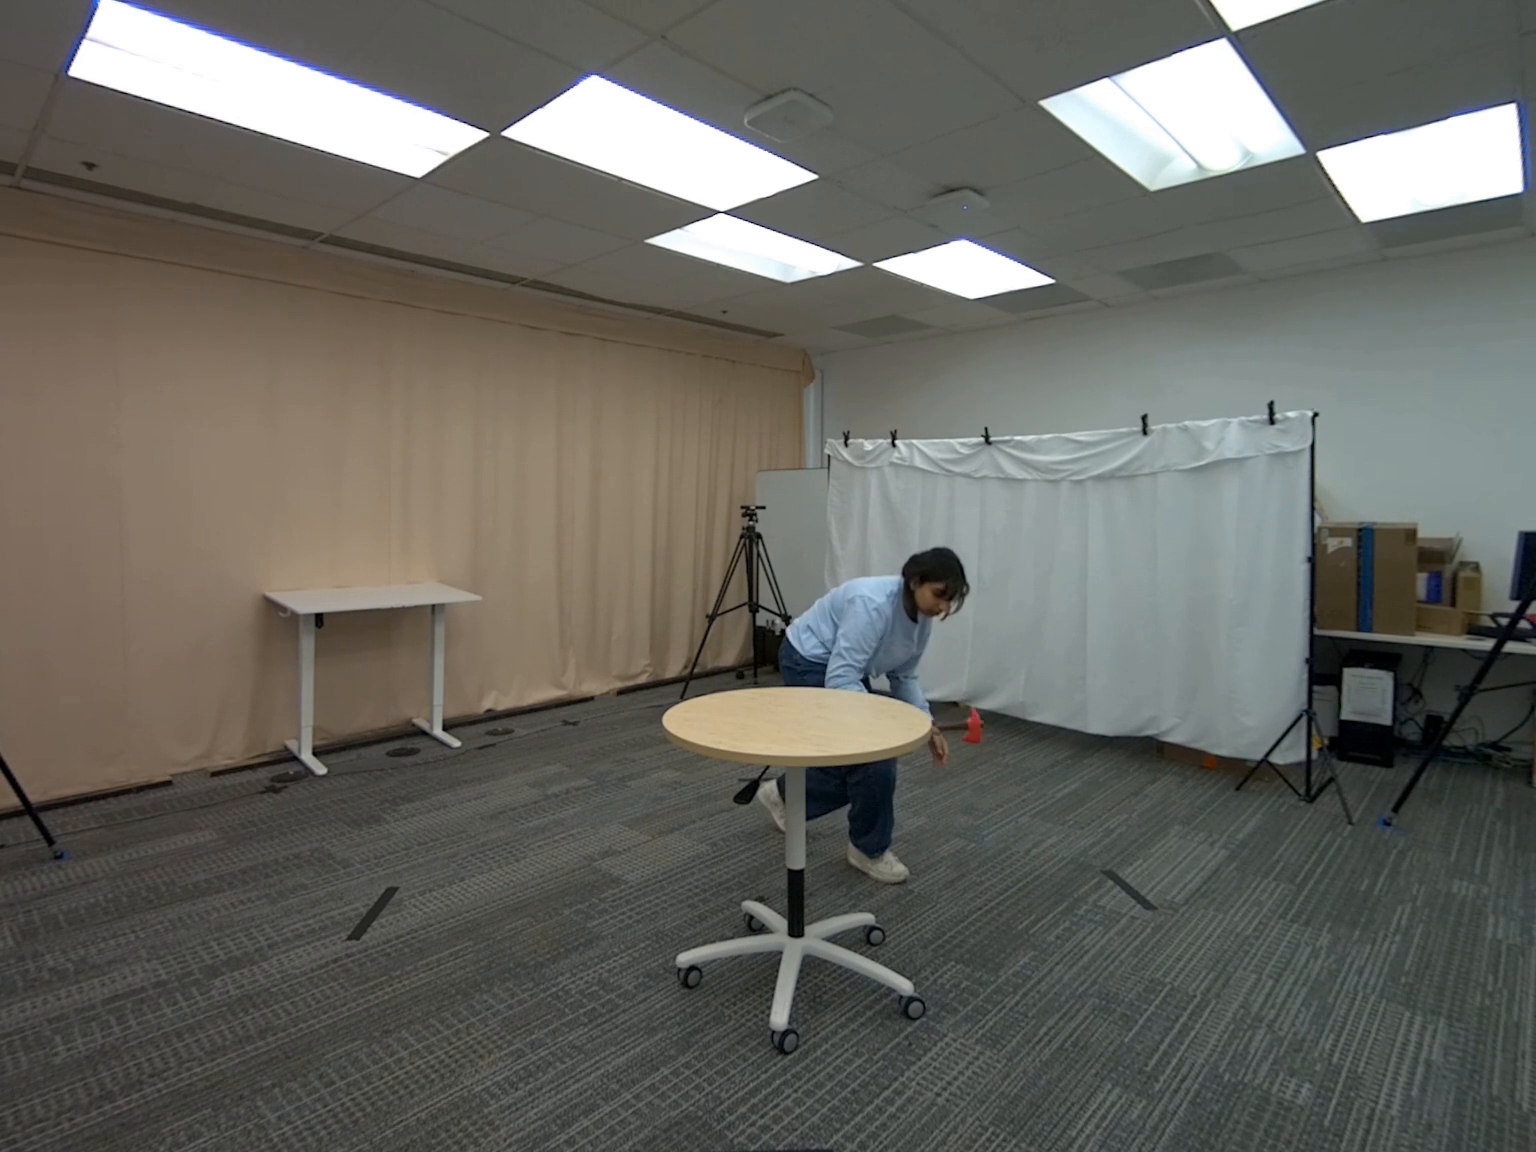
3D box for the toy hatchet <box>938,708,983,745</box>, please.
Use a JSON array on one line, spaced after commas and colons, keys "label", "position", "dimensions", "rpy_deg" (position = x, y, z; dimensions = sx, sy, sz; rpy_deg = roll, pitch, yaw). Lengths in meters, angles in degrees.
[{"label": "toy hatchet", "position": [0.621, 0.567, 2.948], "dimensions": [0.273, 0.130, 0.029], "rpy_deg": [-25, 9, 17]}]
